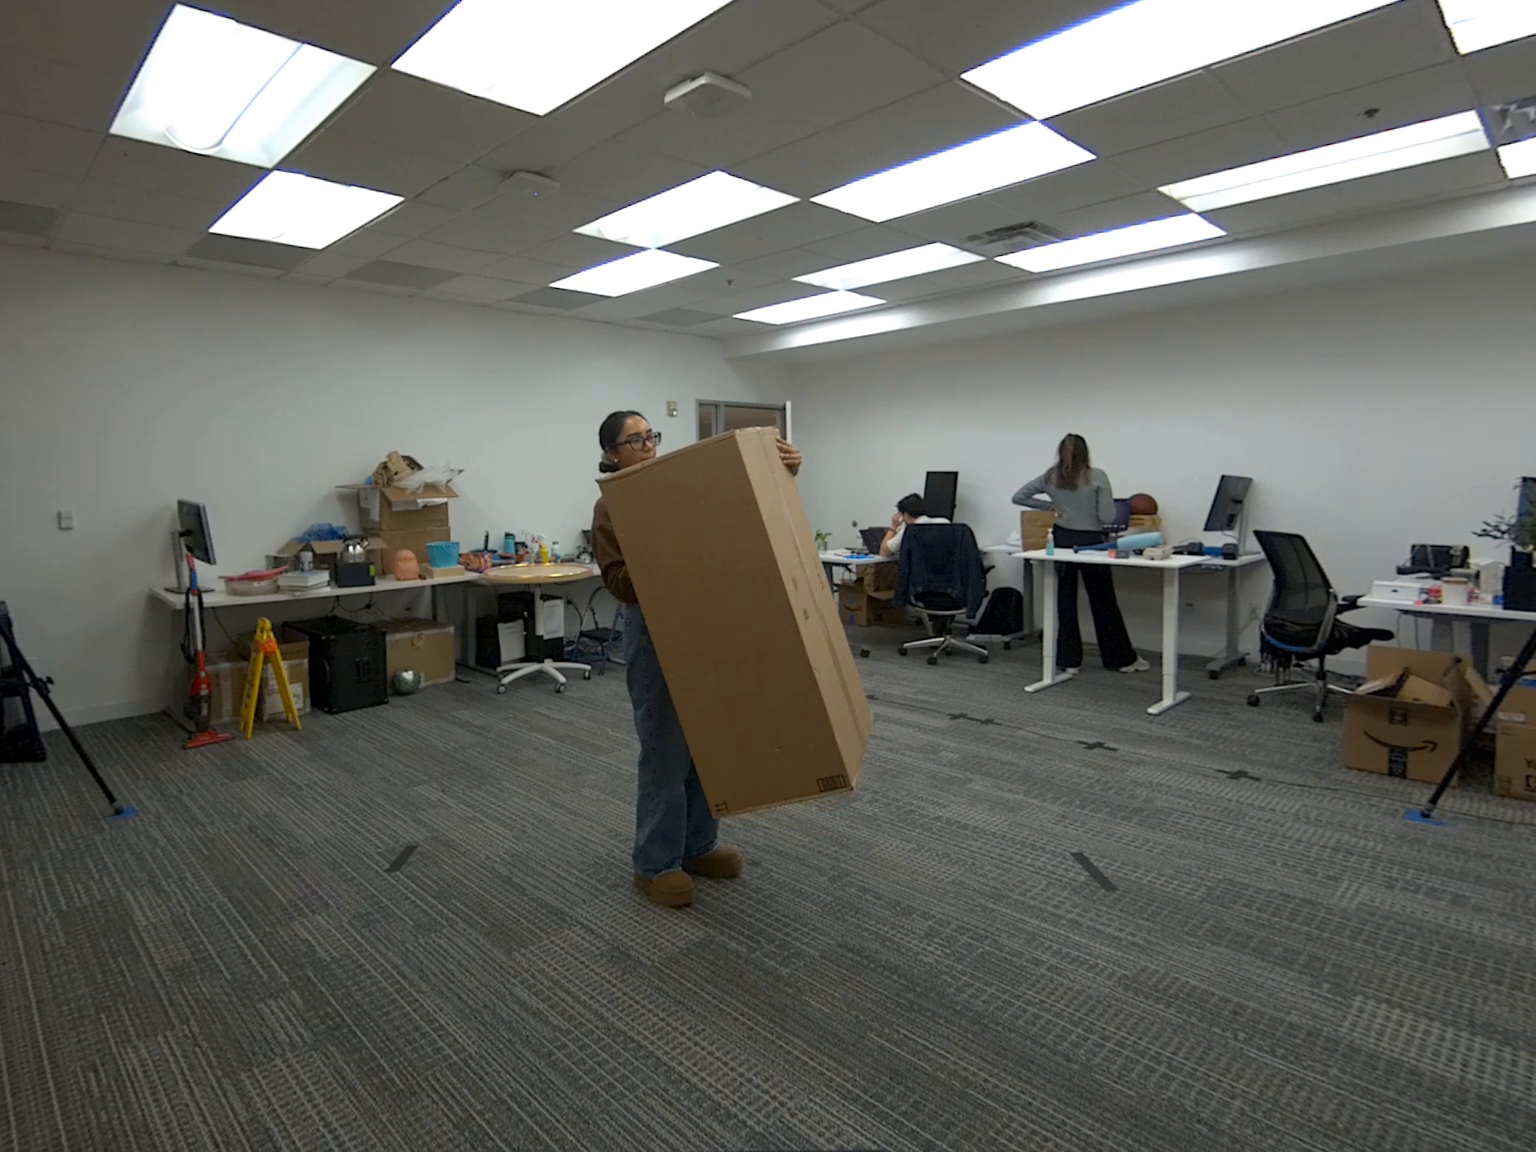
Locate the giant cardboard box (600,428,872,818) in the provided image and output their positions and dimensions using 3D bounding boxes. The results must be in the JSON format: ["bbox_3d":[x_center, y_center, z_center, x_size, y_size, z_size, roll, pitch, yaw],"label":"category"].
[{"bbox_3d":[-0.057,0.104,2.602,0.431,1.021,0.574,-18,4,16],"label":"giant cardboard box"}]
